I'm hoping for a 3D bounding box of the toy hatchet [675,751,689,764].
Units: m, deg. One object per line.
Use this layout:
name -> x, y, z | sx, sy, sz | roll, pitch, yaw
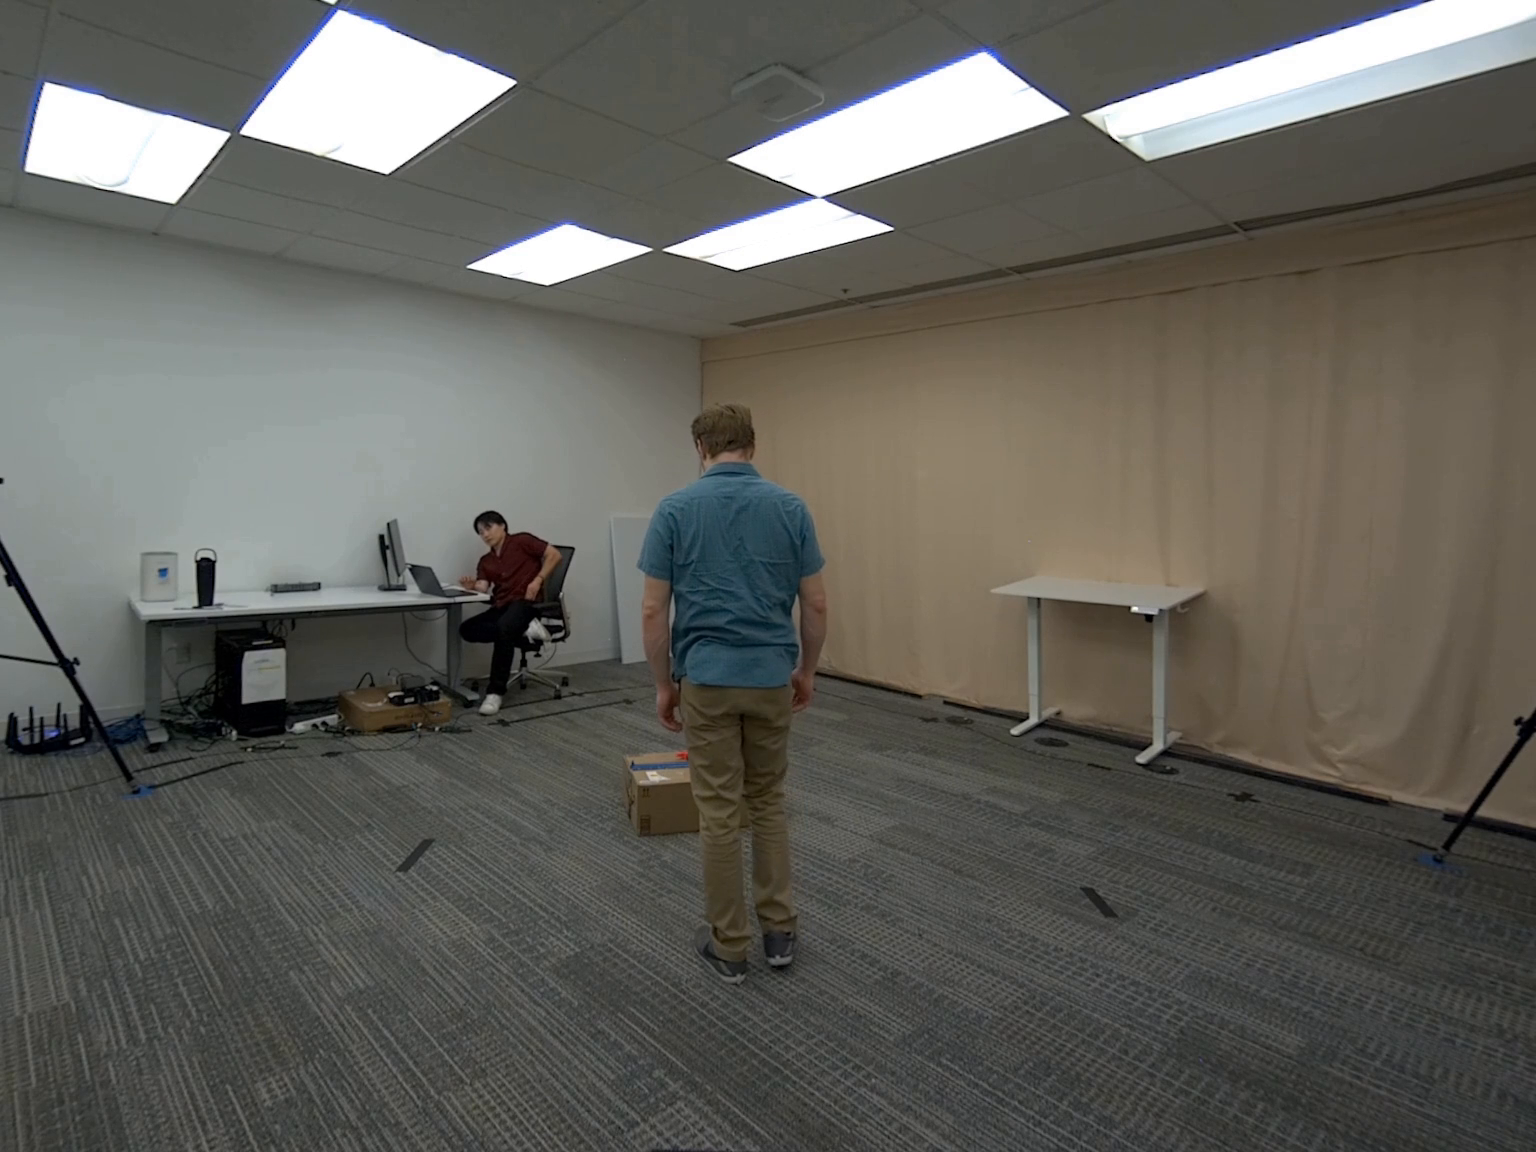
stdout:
toy hatchet -> -0.277, 0.819, 3.717 | 0.277, 0.029, 0.128 | 9, 2, 37
